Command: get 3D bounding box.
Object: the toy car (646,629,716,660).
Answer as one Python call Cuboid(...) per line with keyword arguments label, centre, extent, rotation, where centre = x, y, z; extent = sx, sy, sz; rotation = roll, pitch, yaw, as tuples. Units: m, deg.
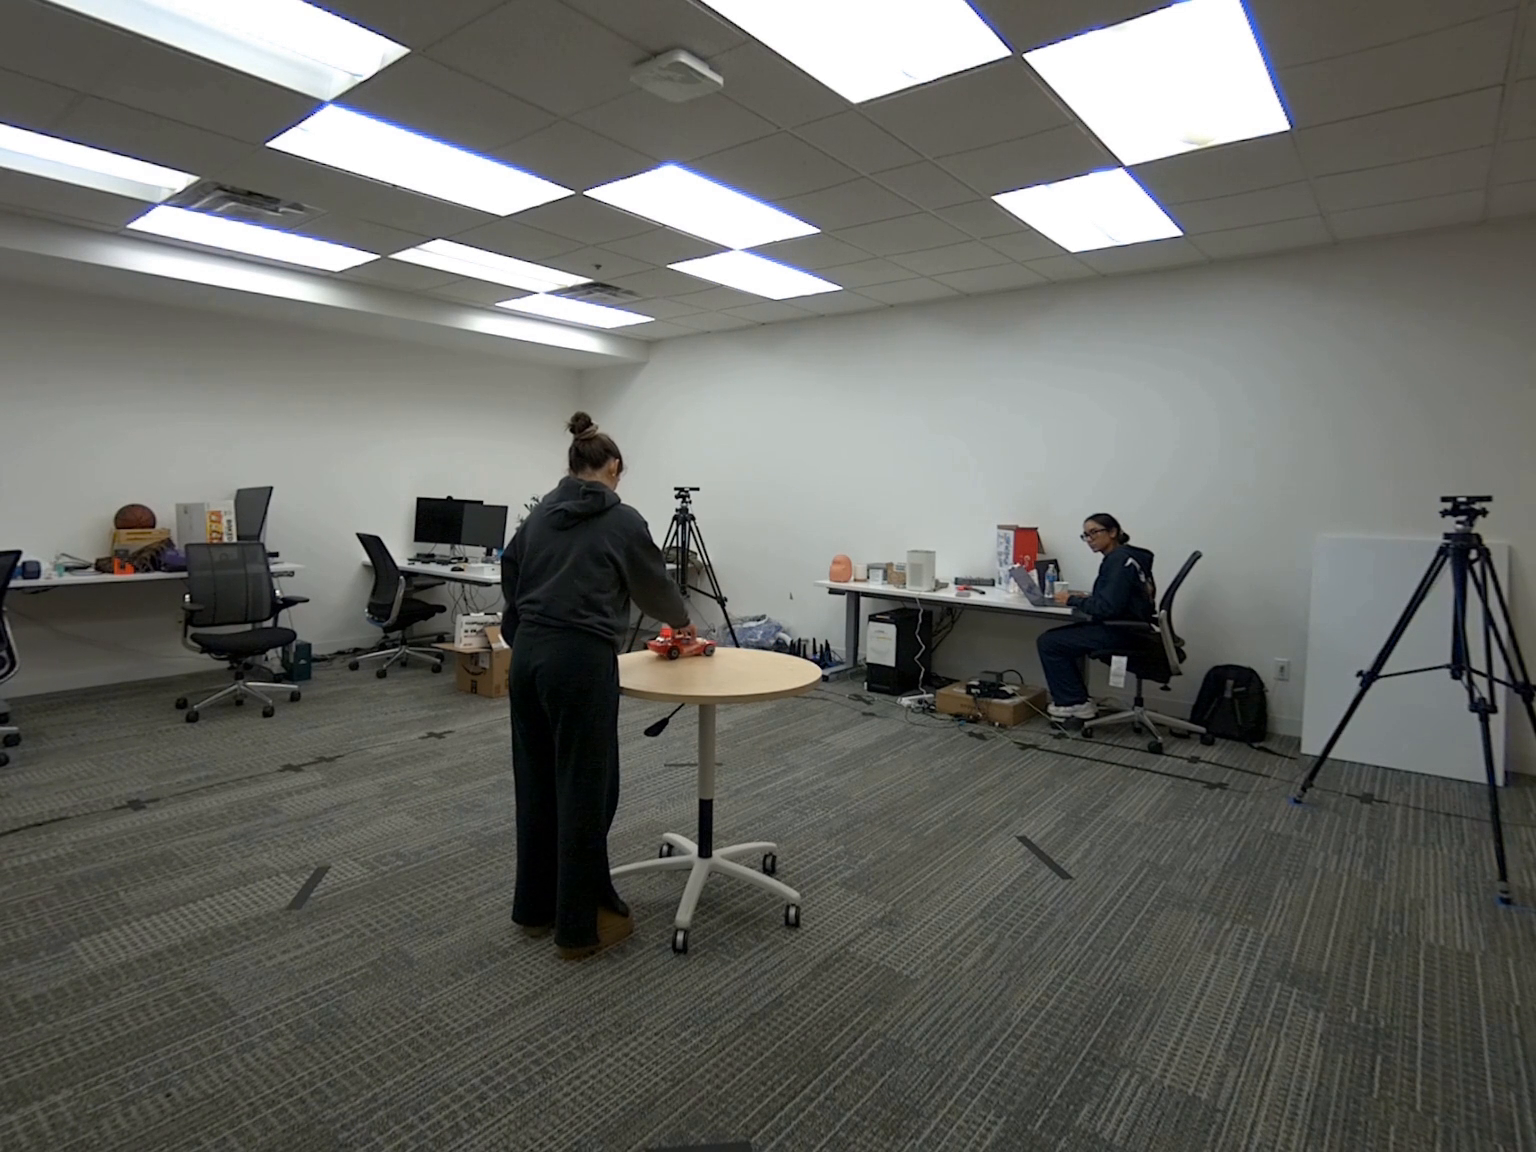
Cuboid(label="toy car", centre=(-0.322, 0.257, 3.066), extent=(0.247, 0.083, 0.134), rotation=(11, -1, -28))
